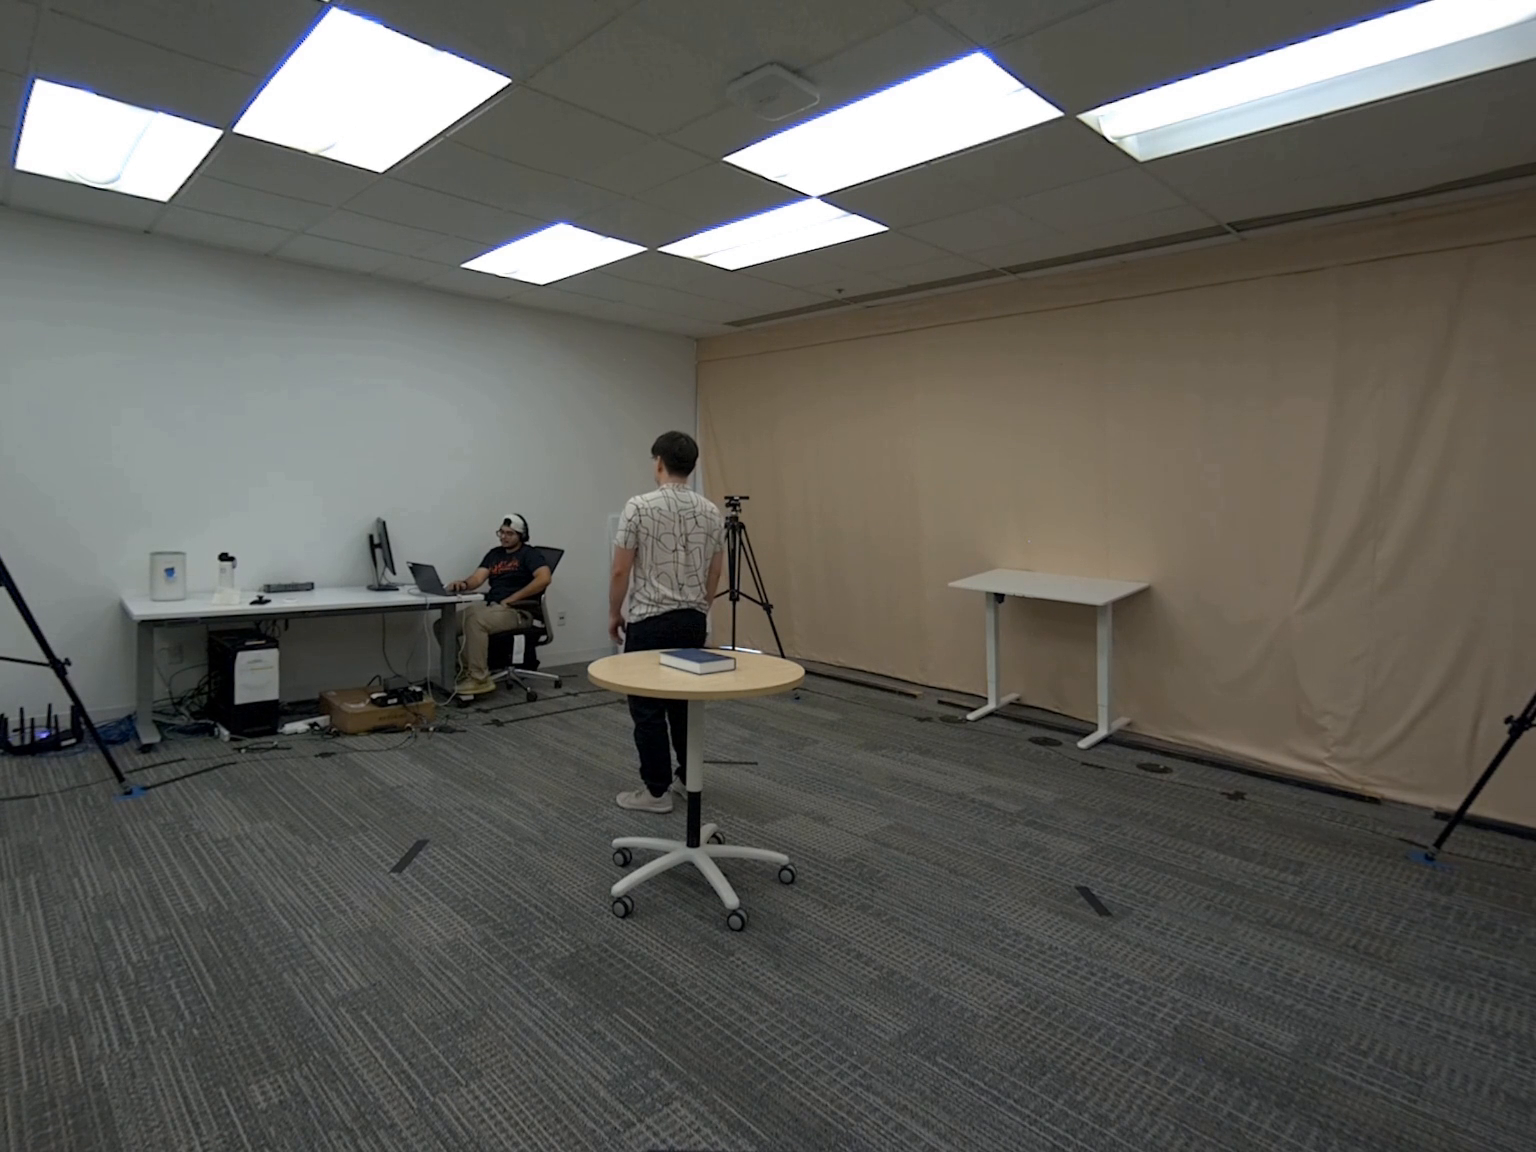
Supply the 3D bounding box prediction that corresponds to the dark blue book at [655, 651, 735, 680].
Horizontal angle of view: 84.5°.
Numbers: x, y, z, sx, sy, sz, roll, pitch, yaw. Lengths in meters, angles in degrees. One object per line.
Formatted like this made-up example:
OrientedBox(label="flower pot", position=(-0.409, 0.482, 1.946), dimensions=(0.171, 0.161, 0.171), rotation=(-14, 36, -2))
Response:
OrientedBox(label="dark blue book", position=(-0.262, 0.313, 2.986), dimensions=(0.160, 0.045, 0.251), rotation=(-3, 6, -41))
